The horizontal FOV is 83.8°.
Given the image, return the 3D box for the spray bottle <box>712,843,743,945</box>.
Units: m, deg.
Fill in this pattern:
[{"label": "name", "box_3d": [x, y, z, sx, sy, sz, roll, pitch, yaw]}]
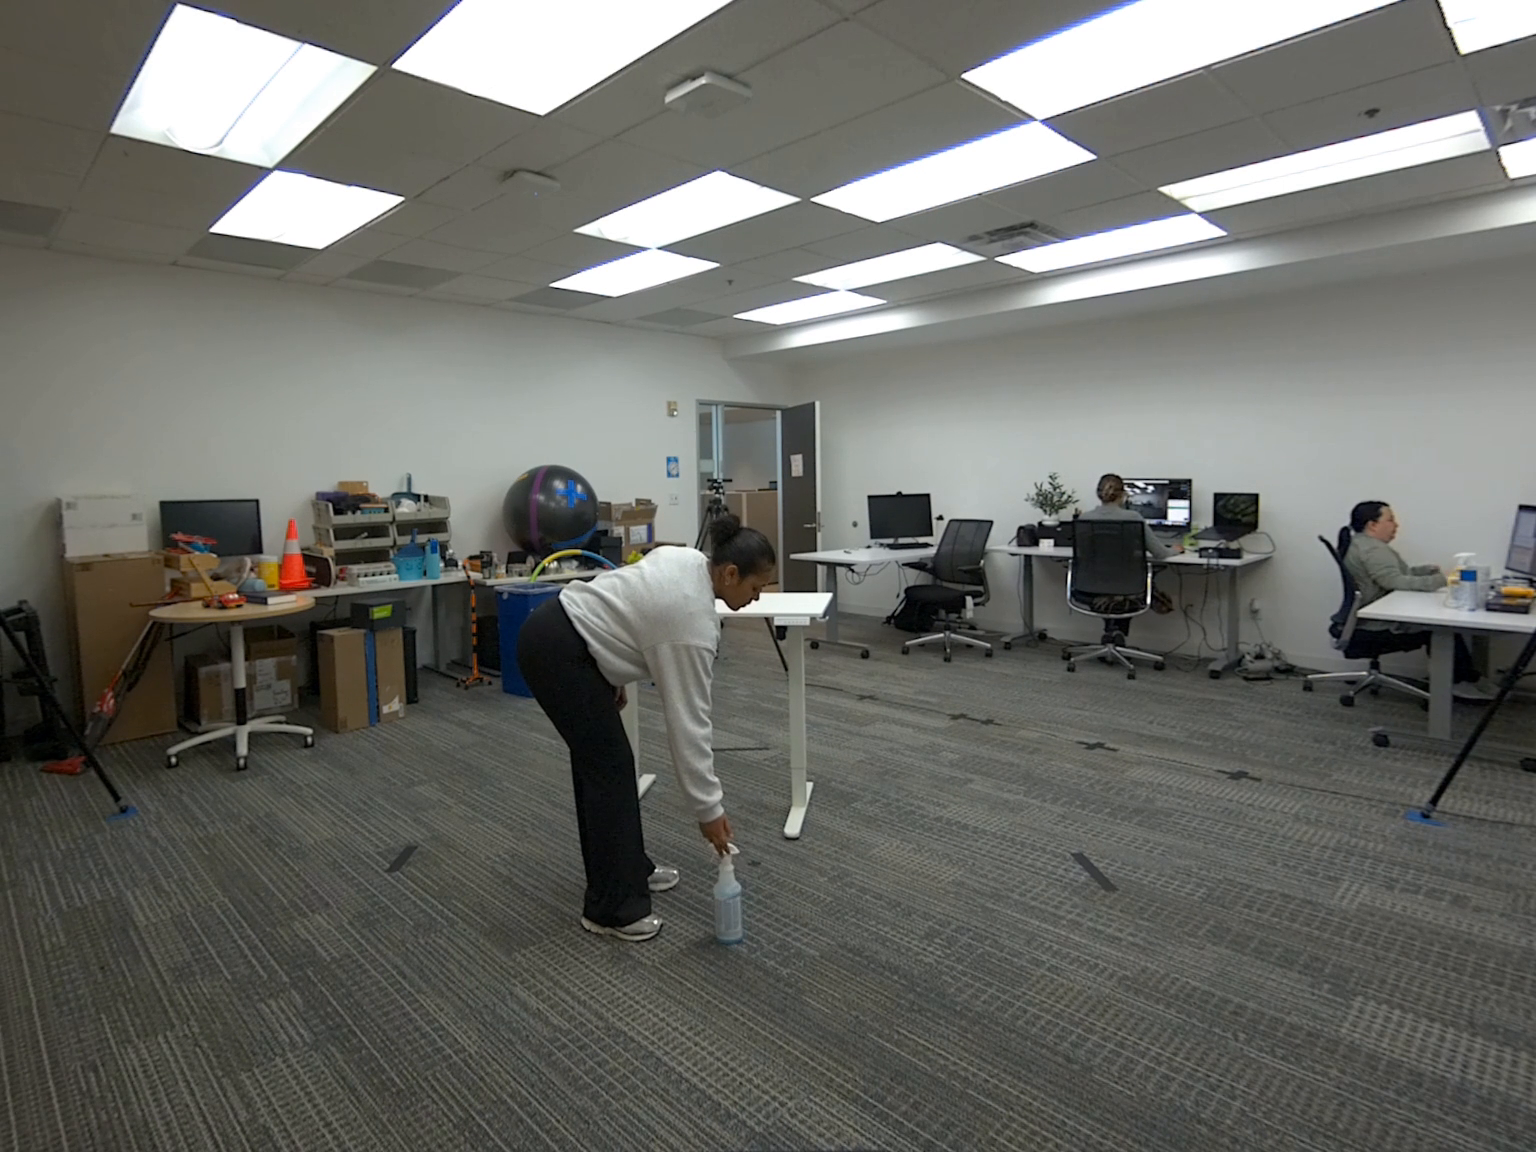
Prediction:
[{"label": "spray bottle", "box_3d": [-0.121, 0.954, 2.599, 0.091, 0.296, 0.086, -2, 4, 17]}]
